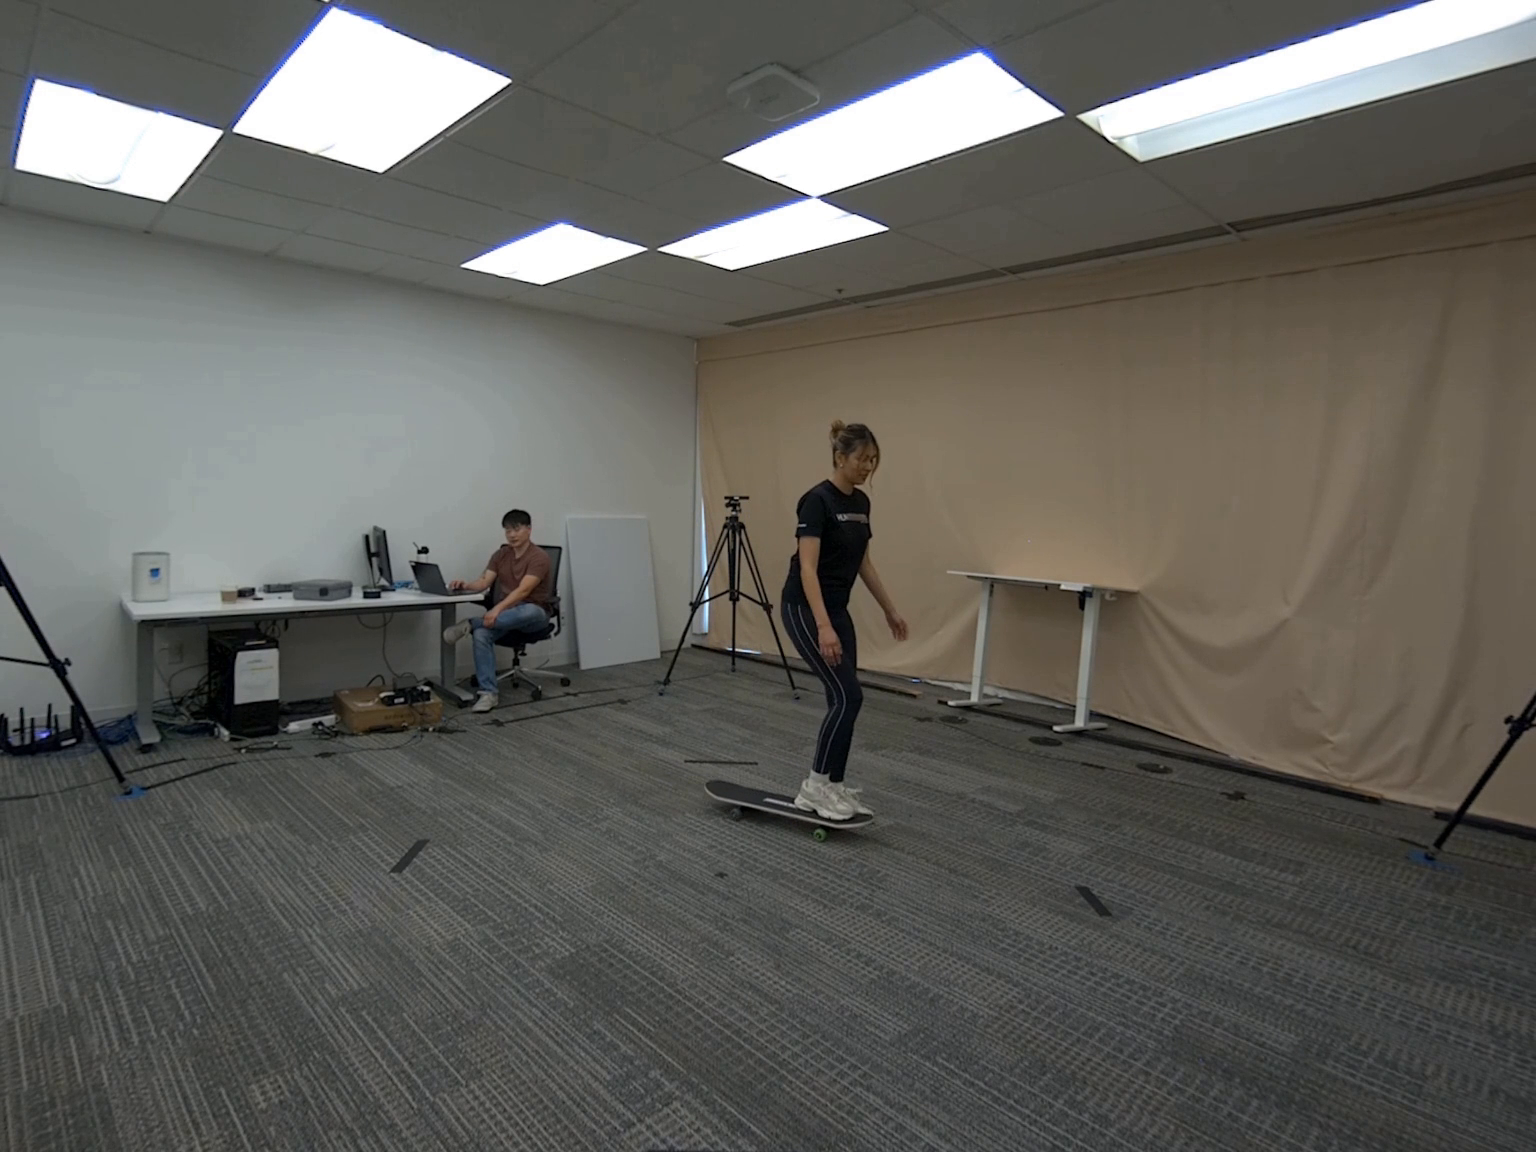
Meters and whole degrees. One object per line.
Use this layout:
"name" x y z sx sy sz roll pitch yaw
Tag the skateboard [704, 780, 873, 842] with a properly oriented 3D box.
"skateboard" 0.064 1.010 3.607 0.803 0.110 0.189 5 4 31
